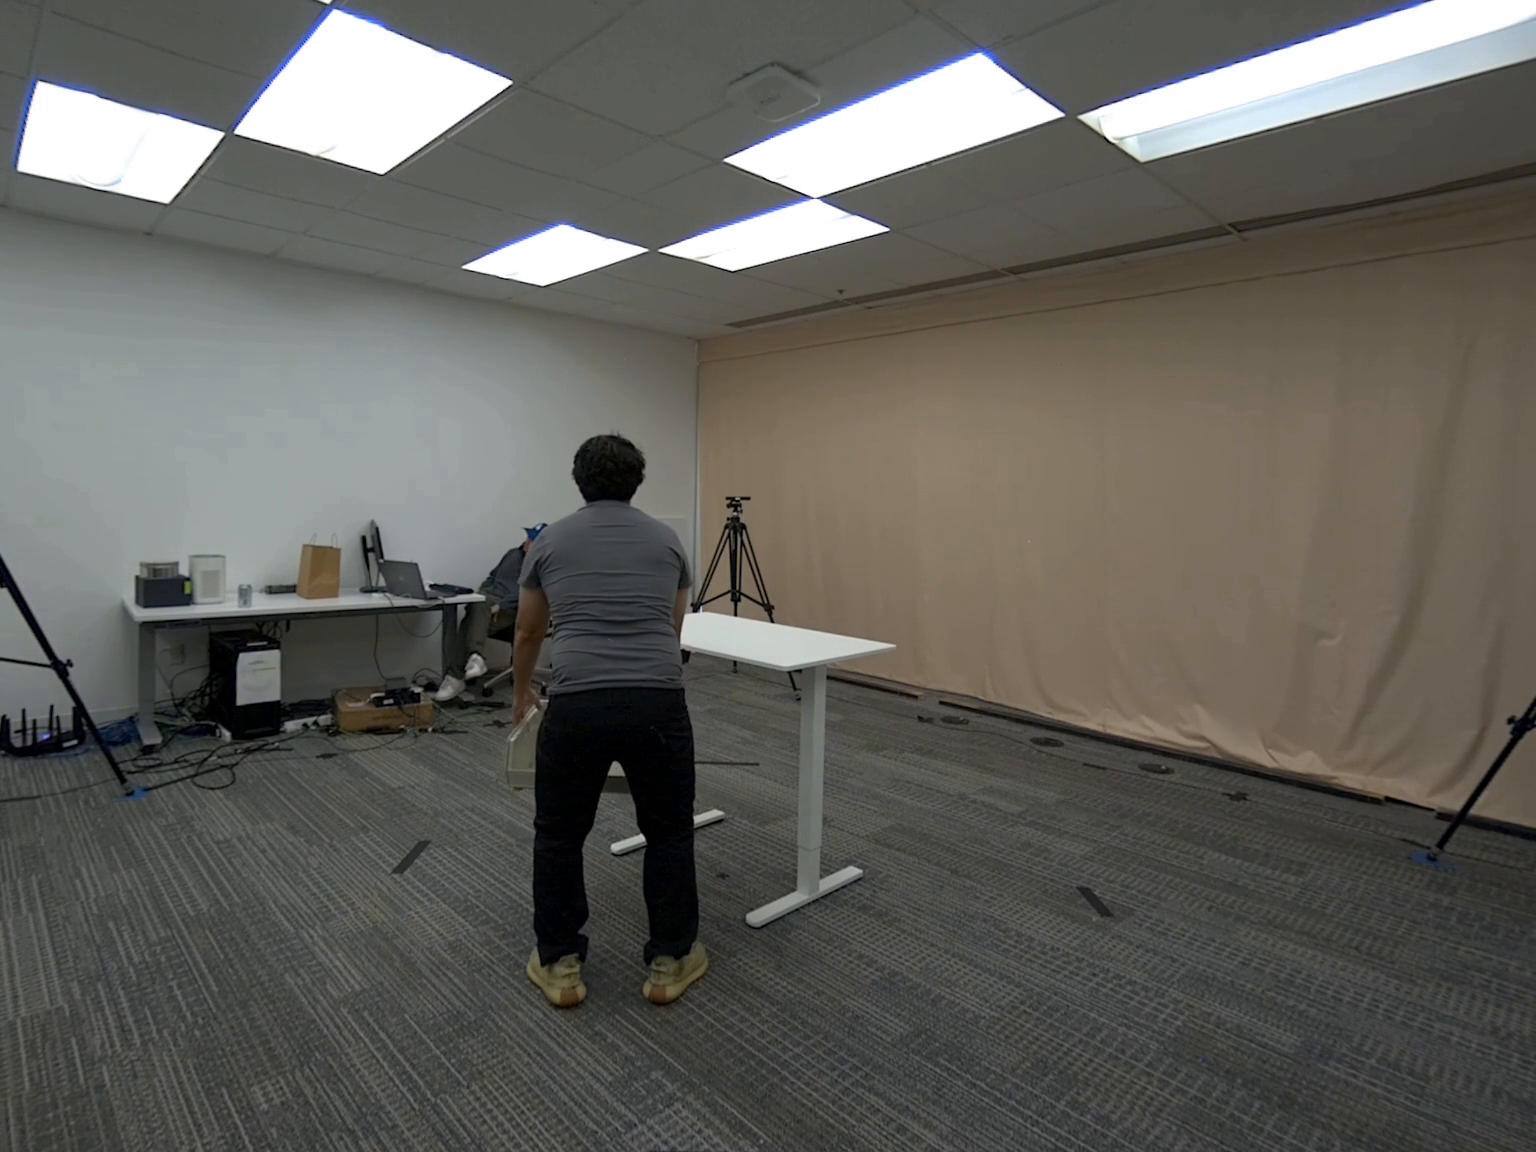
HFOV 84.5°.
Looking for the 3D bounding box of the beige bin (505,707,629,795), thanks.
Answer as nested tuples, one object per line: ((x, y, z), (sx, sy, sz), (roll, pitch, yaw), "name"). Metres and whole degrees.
((-0.602, 0.556, 2.714), (0.424, 0.188, 0.377), (2, 5, 3), "beige bin")
